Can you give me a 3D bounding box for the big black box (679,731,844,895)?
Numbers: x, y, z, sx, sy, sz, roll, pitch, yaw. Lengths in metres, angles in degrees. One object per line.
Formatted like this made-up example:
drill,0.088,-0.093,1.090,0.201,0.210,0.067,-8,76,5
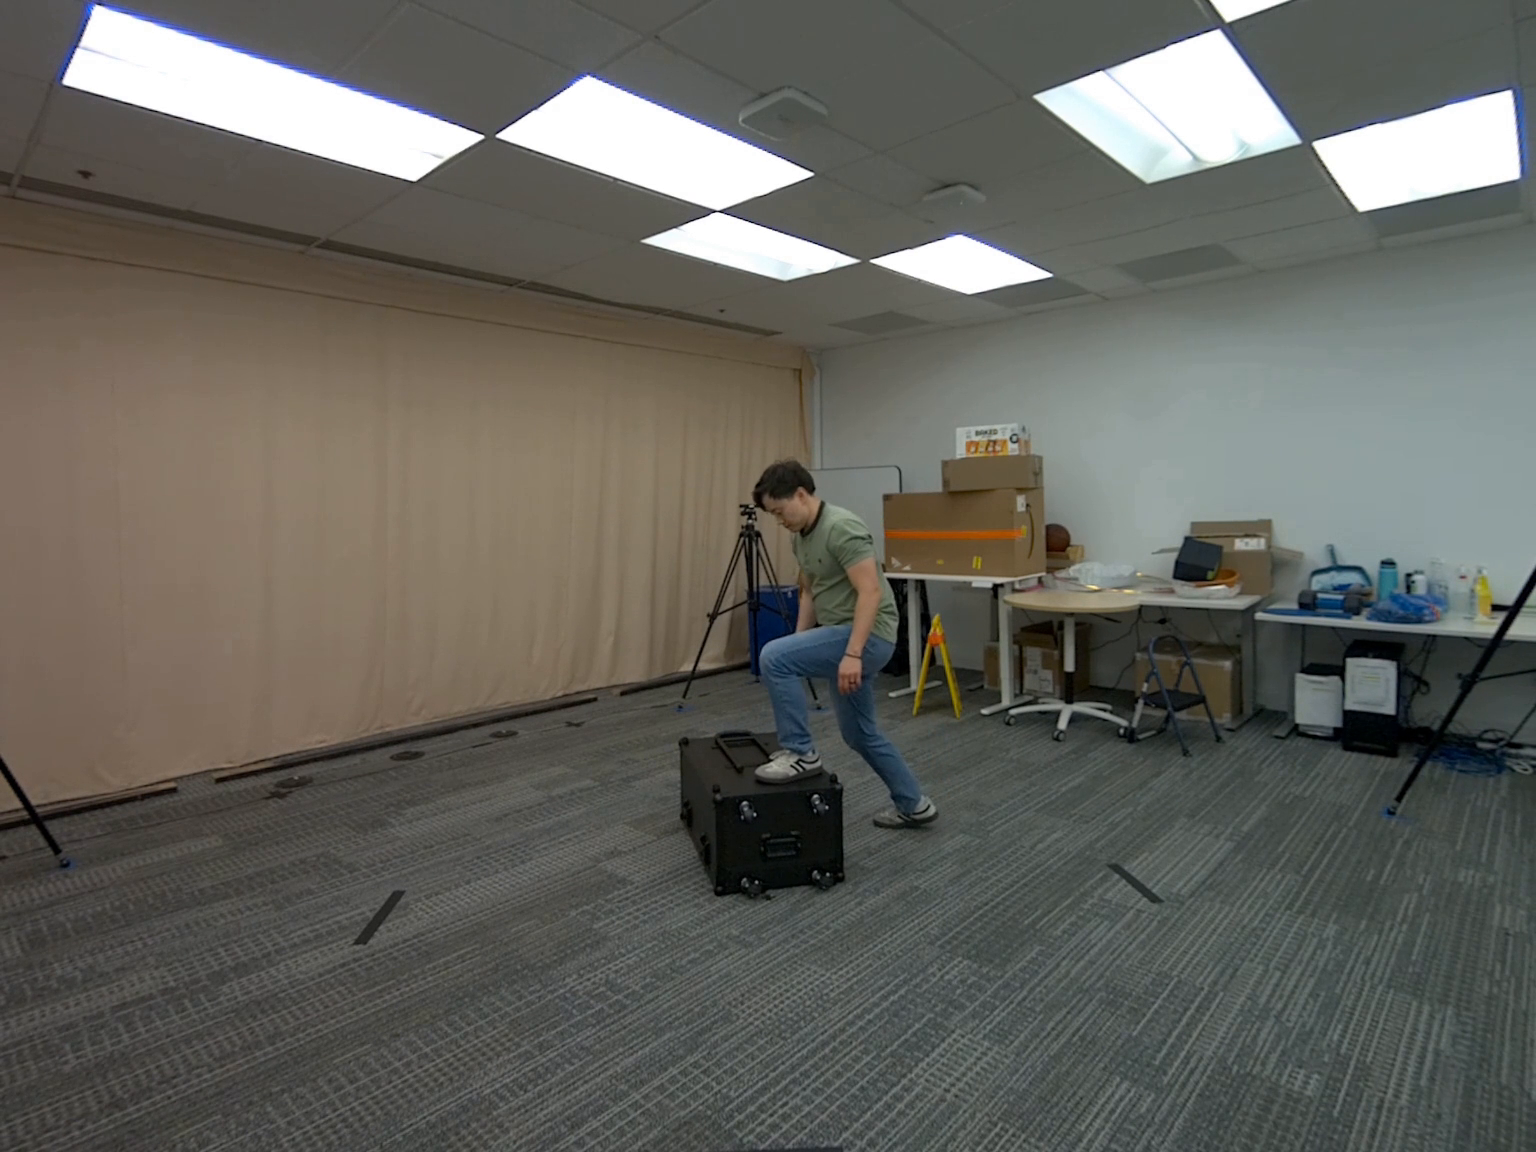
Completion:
big black box,-0.043,0.914,3.383,0.514,0.395,0.877,-2,6,-15
